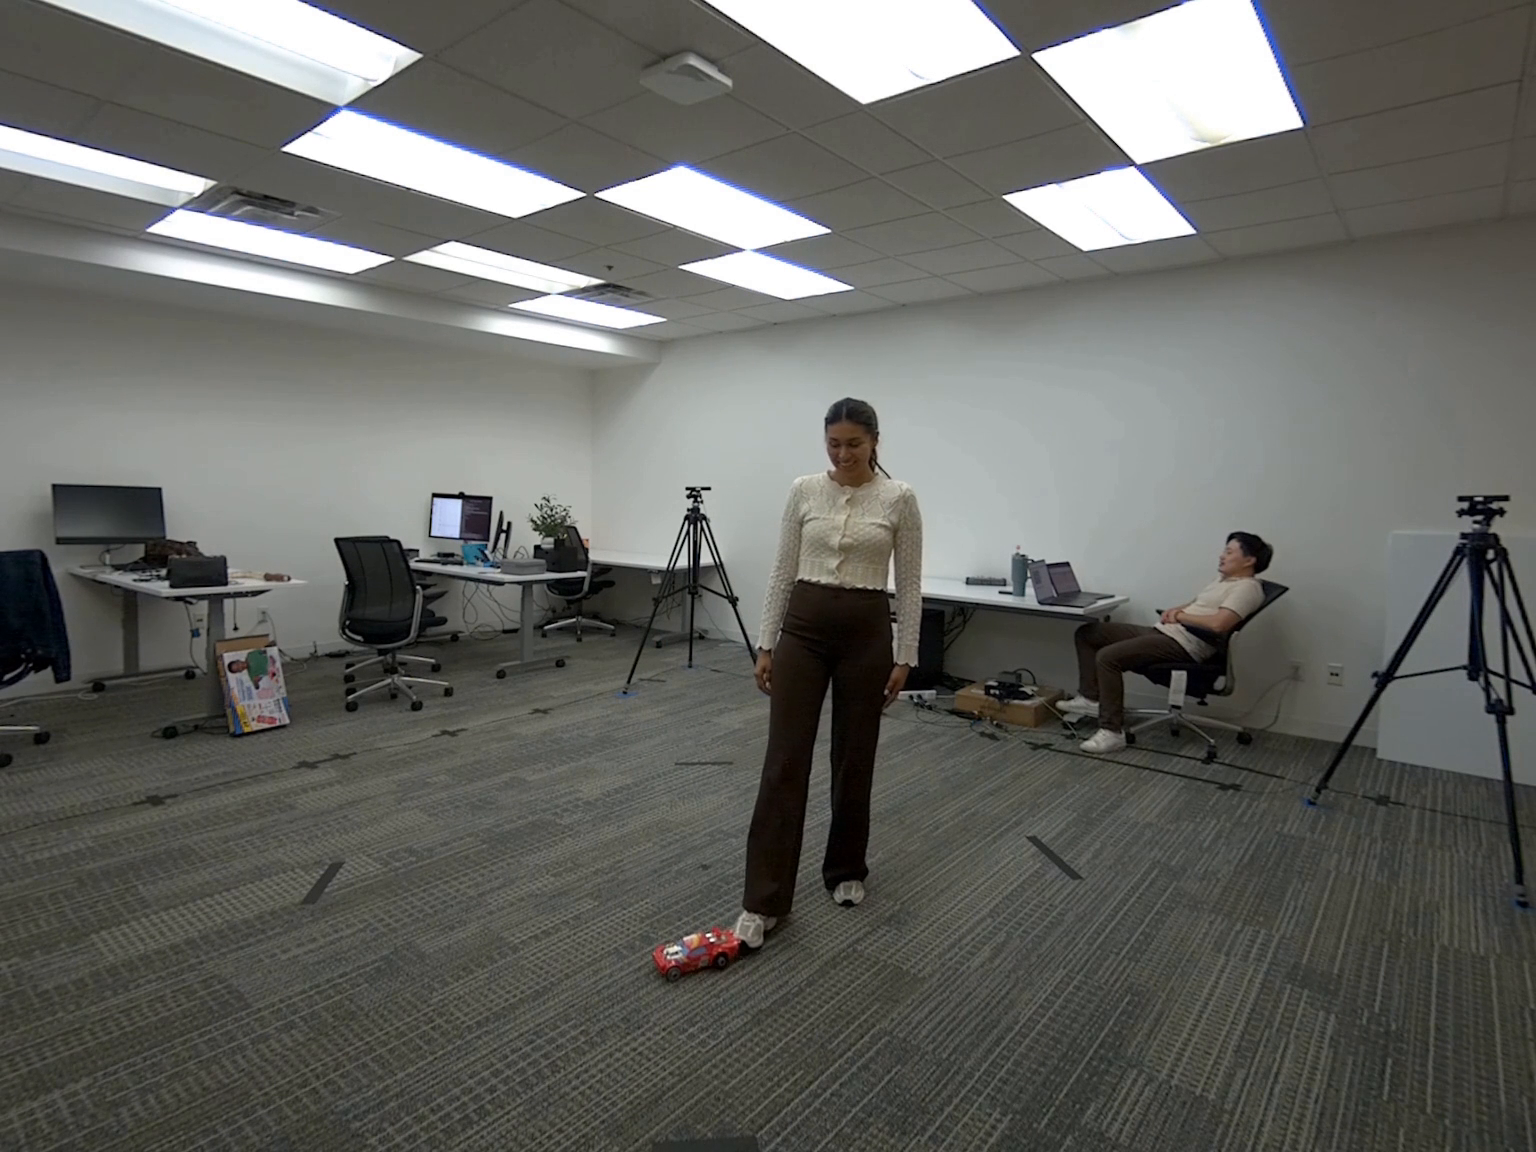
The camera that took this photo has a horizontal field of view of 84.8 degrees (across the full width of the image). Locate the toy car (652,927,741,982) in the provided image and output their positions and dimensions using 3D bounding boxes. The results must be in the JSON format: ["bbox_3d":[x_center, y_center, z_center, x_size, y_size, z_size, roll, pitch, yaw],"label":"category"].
[{"bbox_3d":[-0.205,1.095,2.476,0.250,0.082,0.134,-15,13,-22],"label":"toy car"}]
